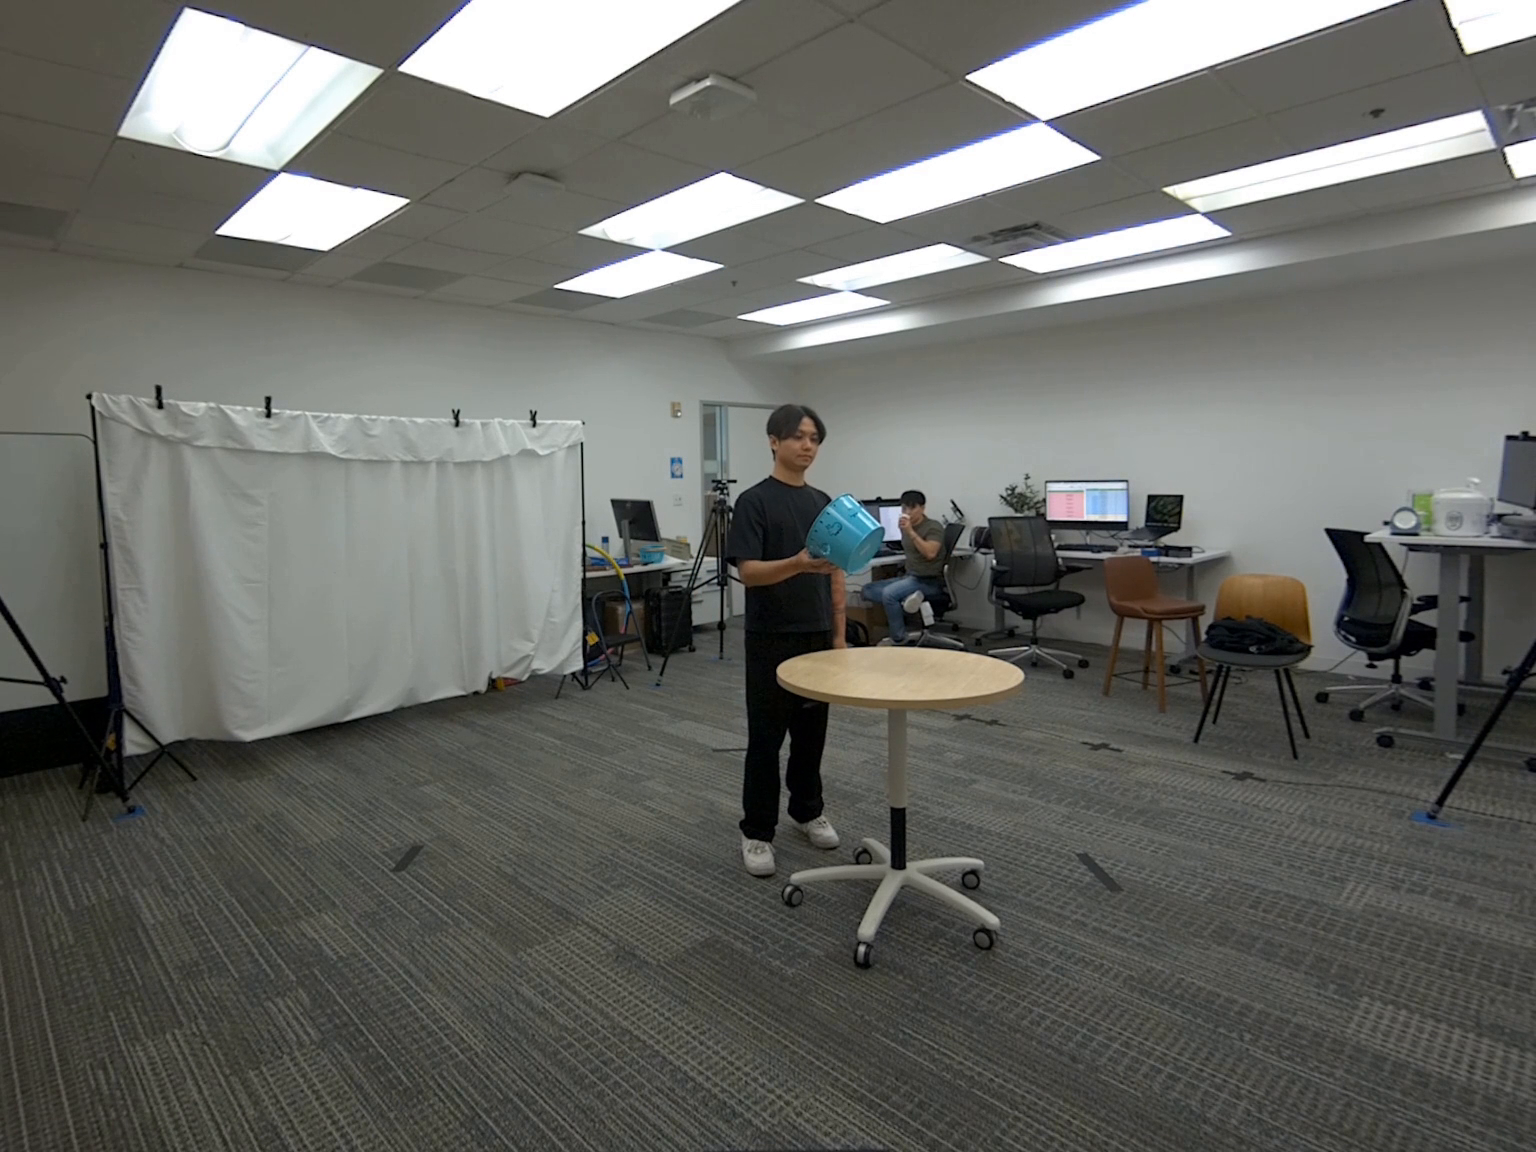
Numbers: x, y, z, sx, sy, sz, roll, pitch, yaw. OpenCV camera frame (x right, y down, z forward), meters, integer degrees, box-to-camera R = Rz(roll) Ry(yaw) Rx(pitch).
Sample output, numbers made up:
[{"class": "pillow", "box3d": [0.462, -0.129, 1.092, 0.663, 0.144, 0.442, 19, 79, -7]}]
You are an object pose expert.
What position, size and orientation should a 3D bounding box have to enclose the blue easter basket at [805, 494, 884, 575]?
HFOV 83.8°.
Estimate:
[{"class": "blue easter basket", "box3d": [0.259, -0.118, 2.714, 0.161, 0.242, 0.238, 39, 25, 25]}]
